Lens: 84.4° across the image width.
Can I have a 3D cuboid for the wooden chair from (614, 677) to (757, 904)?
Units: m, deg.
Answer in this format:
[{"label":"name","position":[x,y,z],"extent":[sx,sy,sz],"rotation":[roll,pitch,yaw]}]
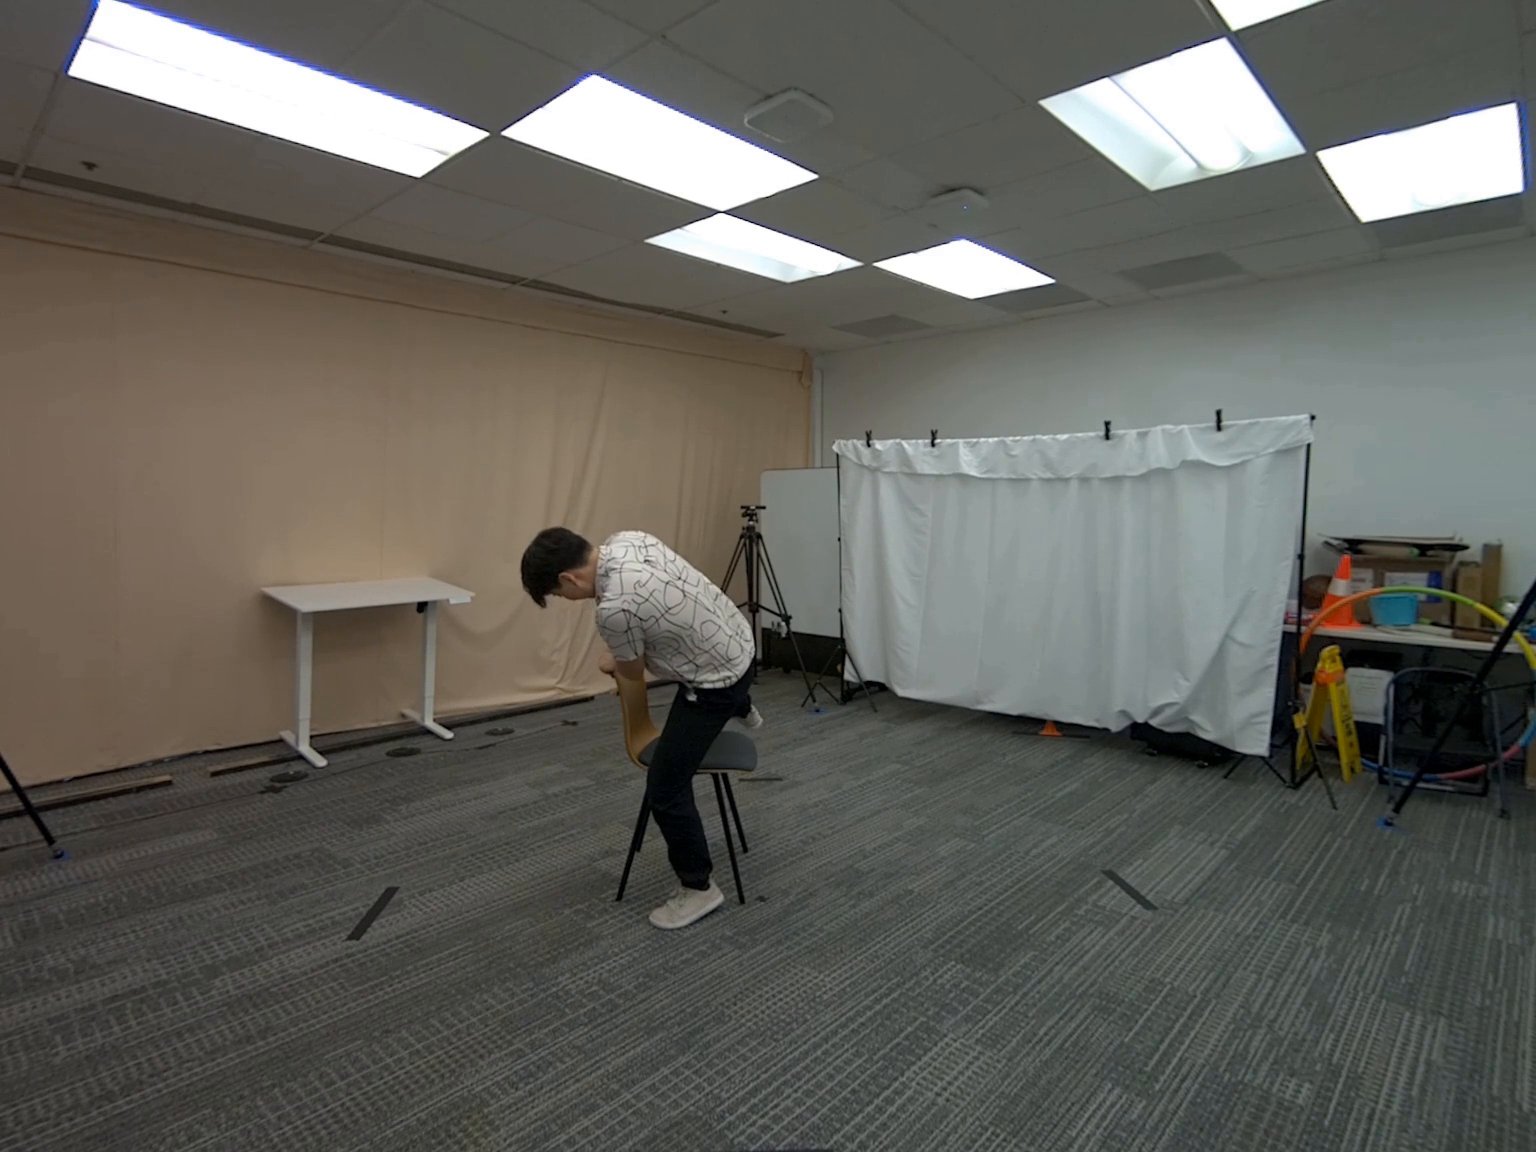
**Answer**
[{"label":"wooden chair","position":[-0.299,0.703,3.154],"extent":[0.525,0.876,0.478],"rotation":[-5,2,2]}]
